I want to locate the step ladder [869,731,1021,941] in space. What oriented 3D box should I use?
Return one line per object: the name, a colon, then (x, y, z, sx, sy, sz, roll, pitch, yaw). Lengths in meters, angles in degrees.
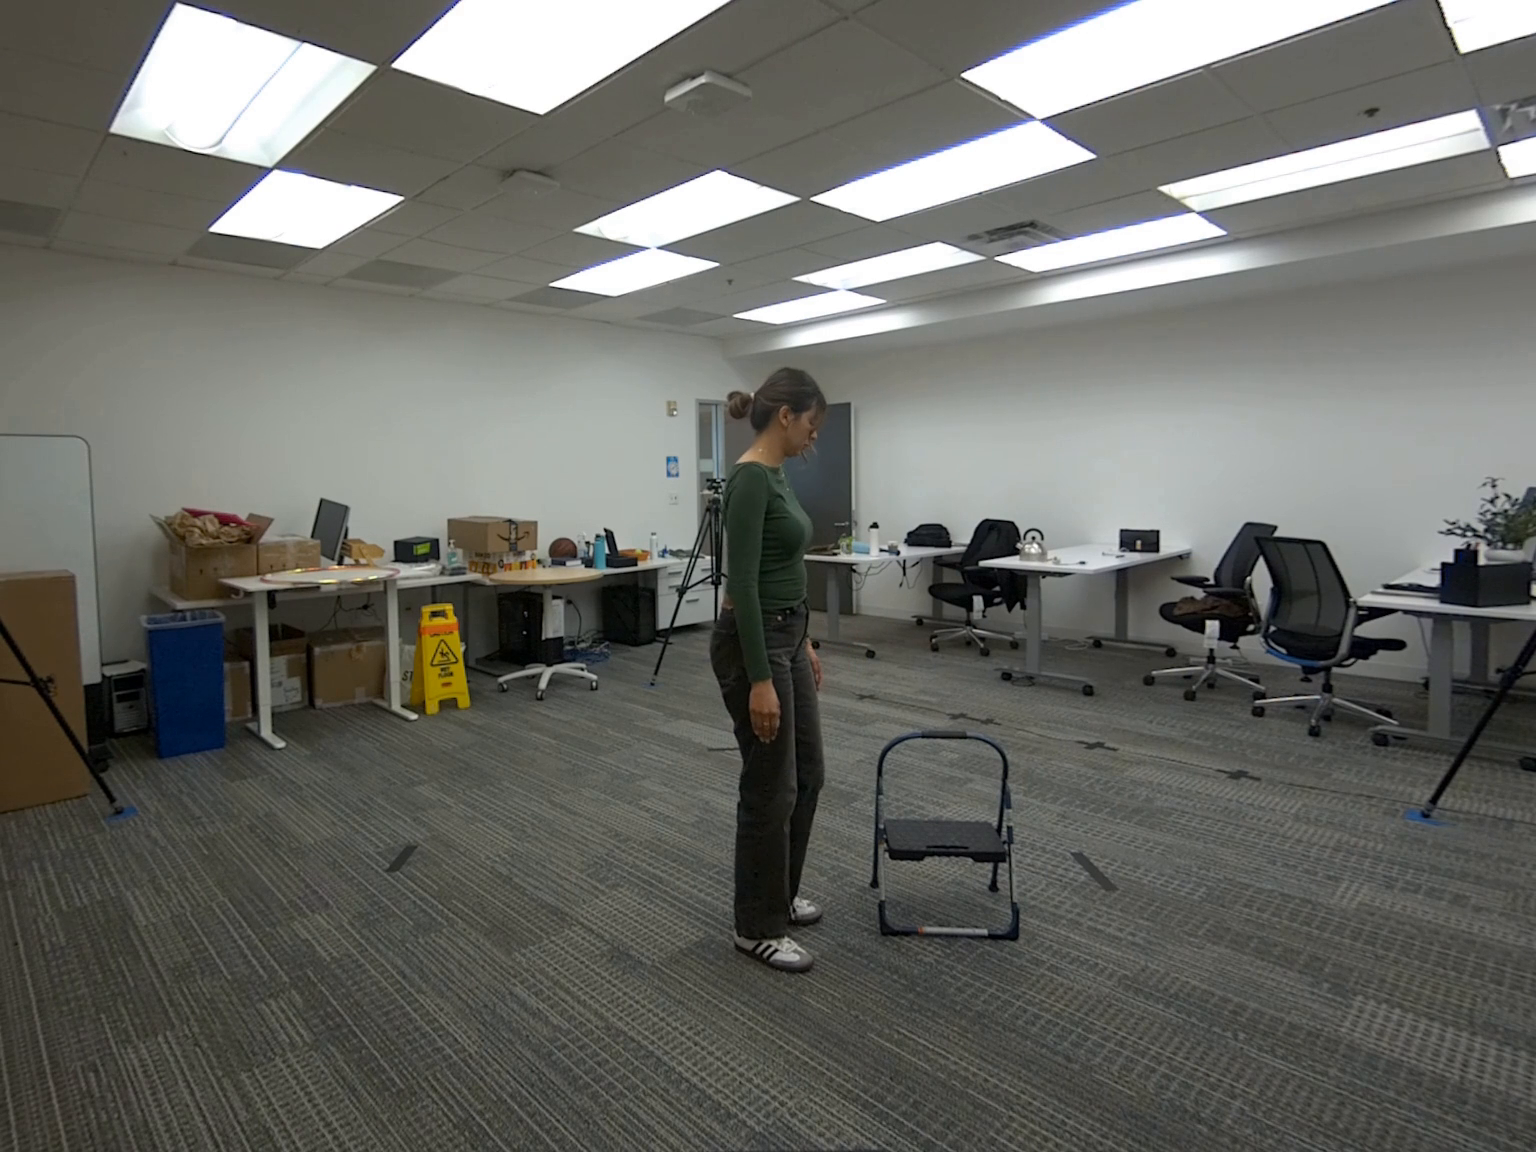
step ladder: (0.553, 0.775, 2.729, 0.433, 0.604, 0.349, -1, 4, 4)
